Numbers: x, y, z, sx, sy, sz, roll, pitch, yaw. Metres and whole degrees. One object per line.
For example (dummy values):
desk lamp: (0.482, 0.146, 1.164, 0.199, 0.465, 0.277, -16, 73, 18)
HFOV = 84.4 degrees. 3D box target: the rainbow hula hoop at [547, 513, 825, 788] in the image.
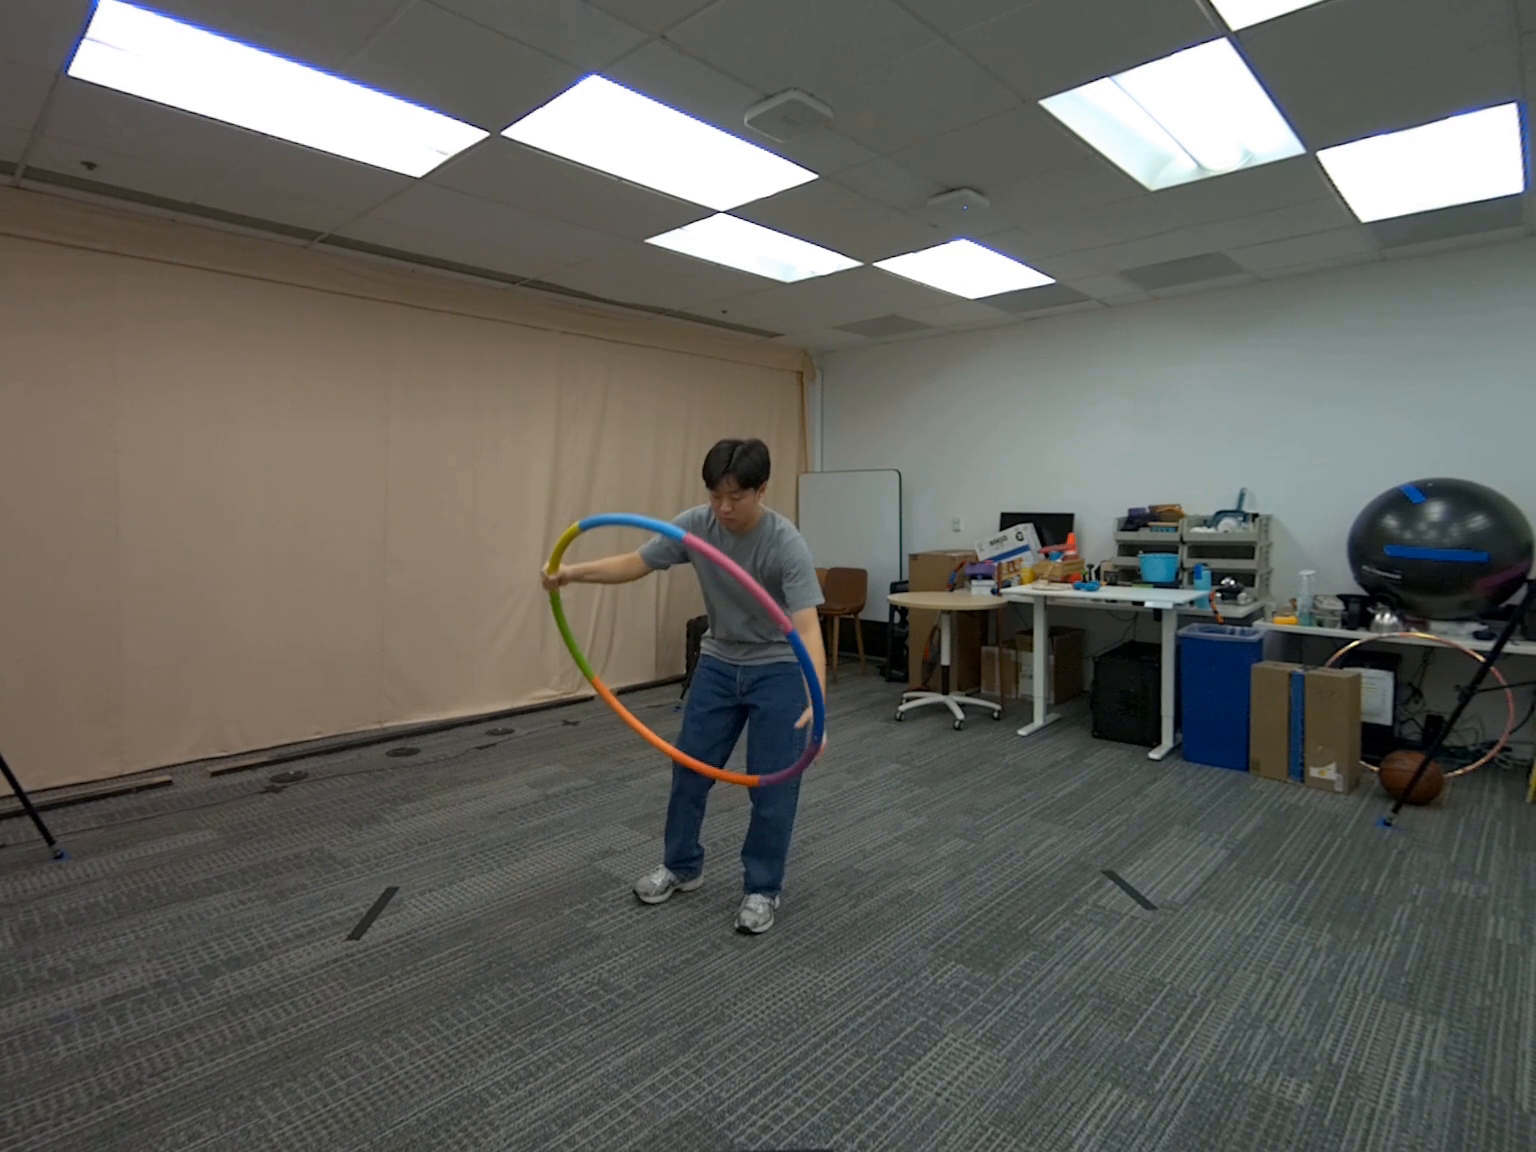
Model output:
rainbow hula hoop: (-0.278, 0.258, 2.515, 1.010, 0.957, 0.035, 3, 34, 38)
